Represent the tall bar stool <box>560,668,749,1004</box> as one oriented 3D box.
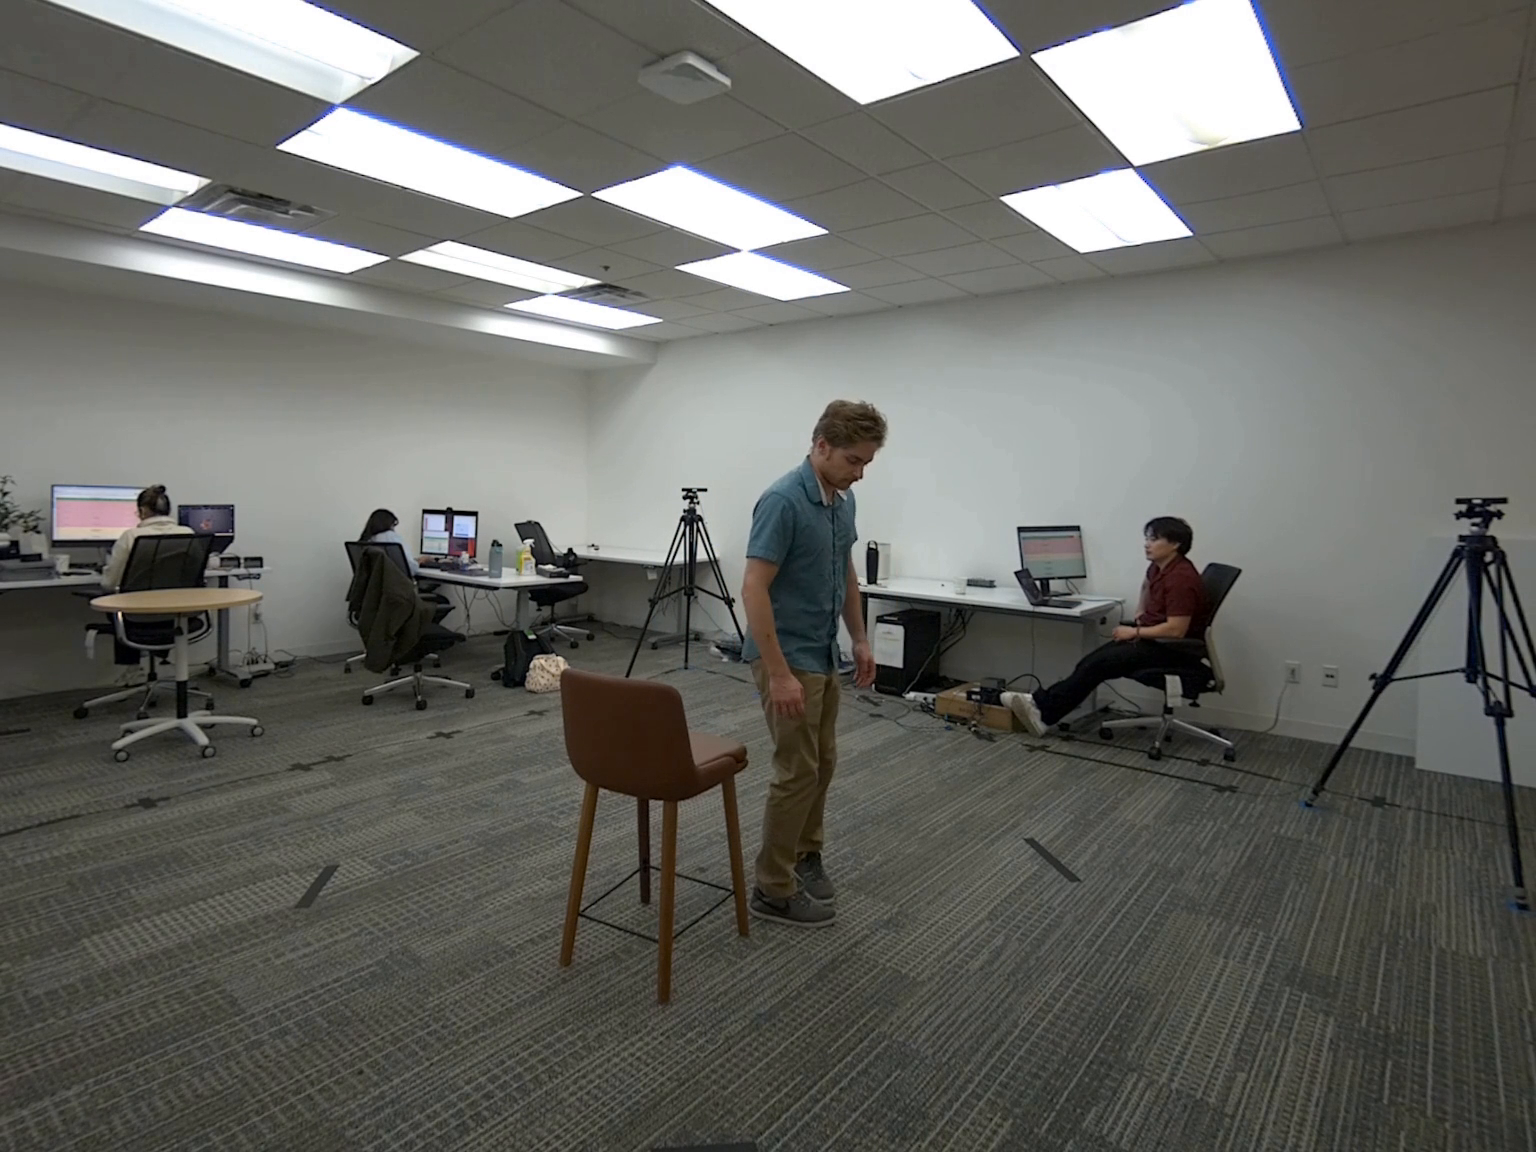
[{"bbox_3d":[-0.344,0.688,2.544,0.470,0.886,0.456,2,5,30],"label":"tall bar stool"}]
